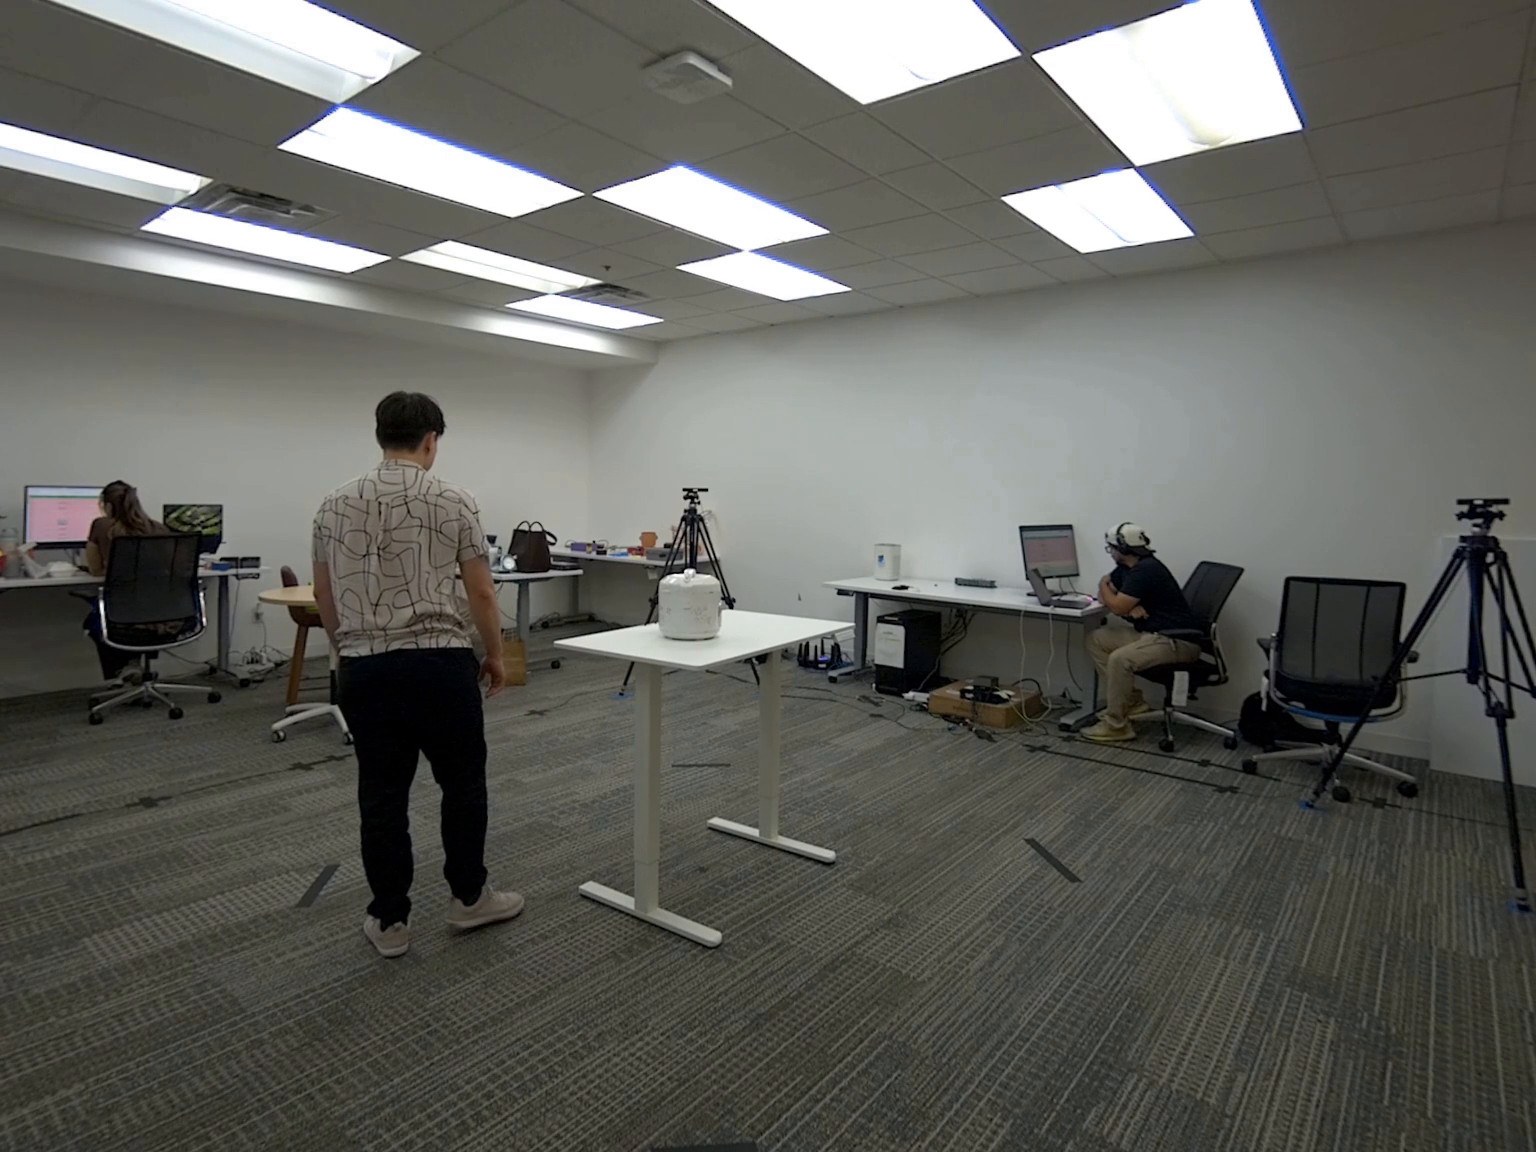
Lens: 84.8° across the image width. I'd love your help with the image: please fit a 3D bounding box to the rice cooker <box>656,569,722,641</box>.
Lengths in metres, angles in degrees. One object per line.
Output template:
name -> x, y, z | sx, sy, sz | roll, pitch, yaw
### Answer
rice cooker -> -0.276, 0.088, 2.915 | 0.218, 0.232, 0.220 | 0, 5, 4
